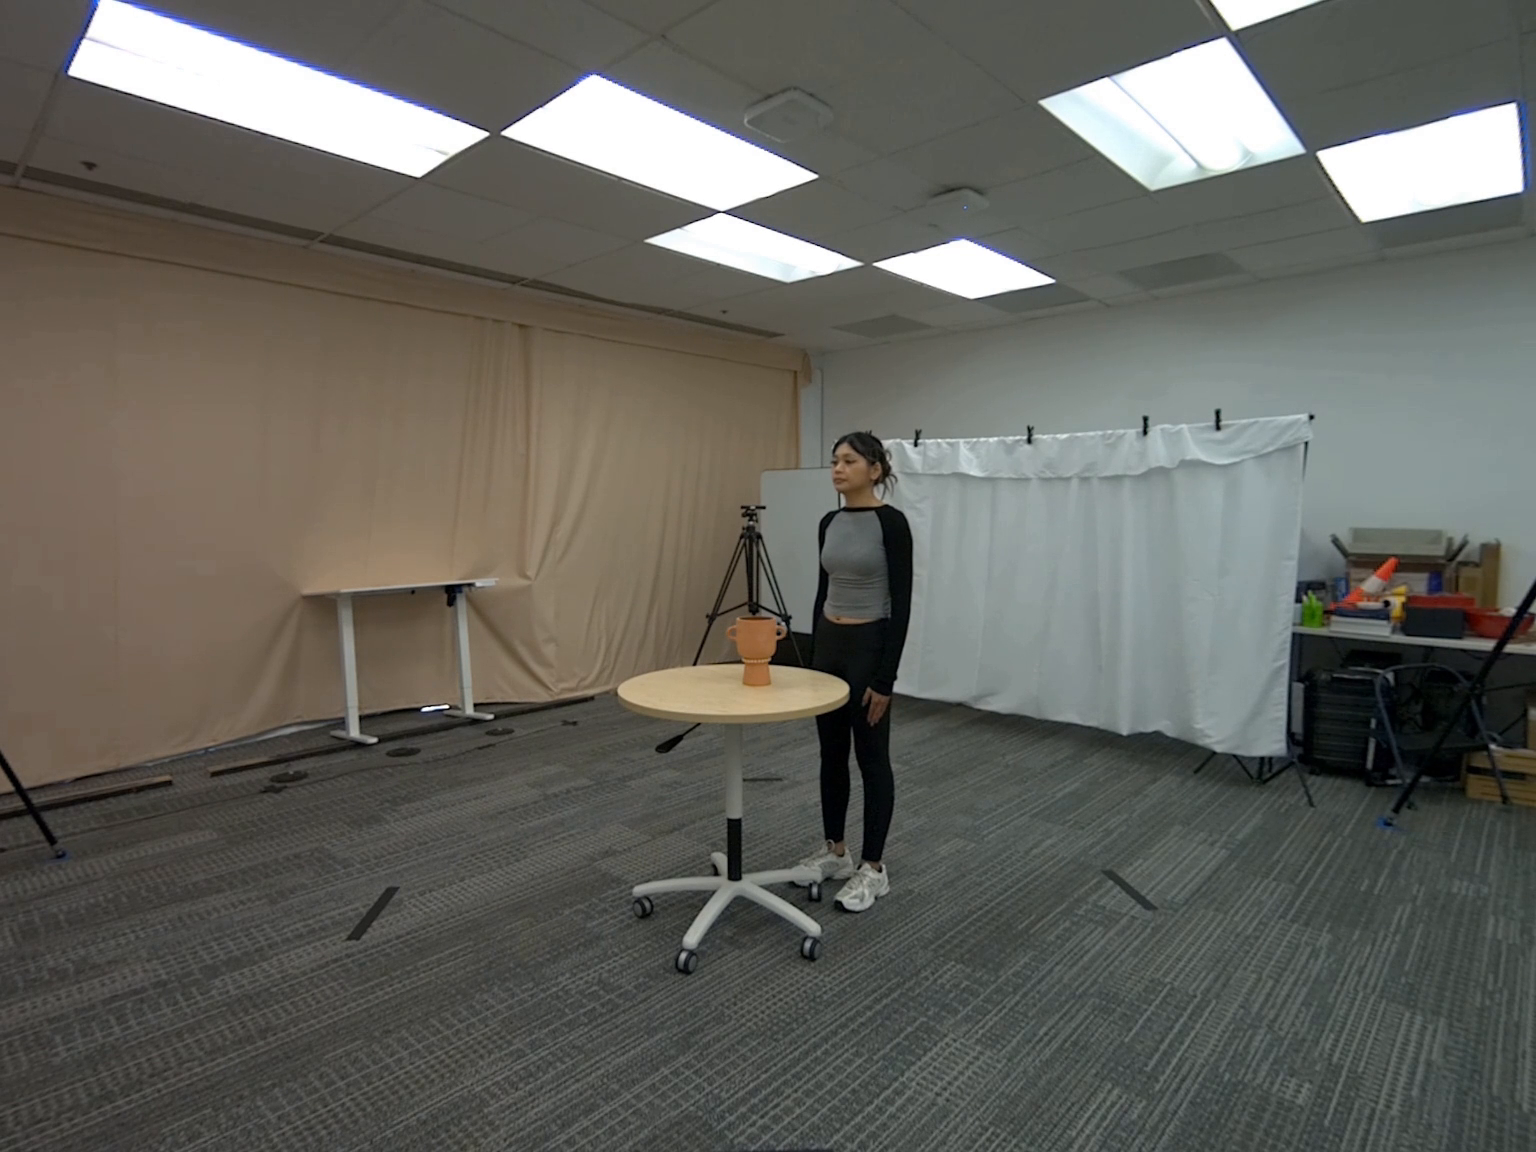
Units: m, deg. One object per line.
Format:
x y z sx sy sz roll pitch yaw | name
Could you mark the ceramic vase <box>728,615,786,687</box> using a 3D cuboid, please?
-0.034 0.258 2.833 0.164 0.219 0.130 2 4 39 | ceramic vase
